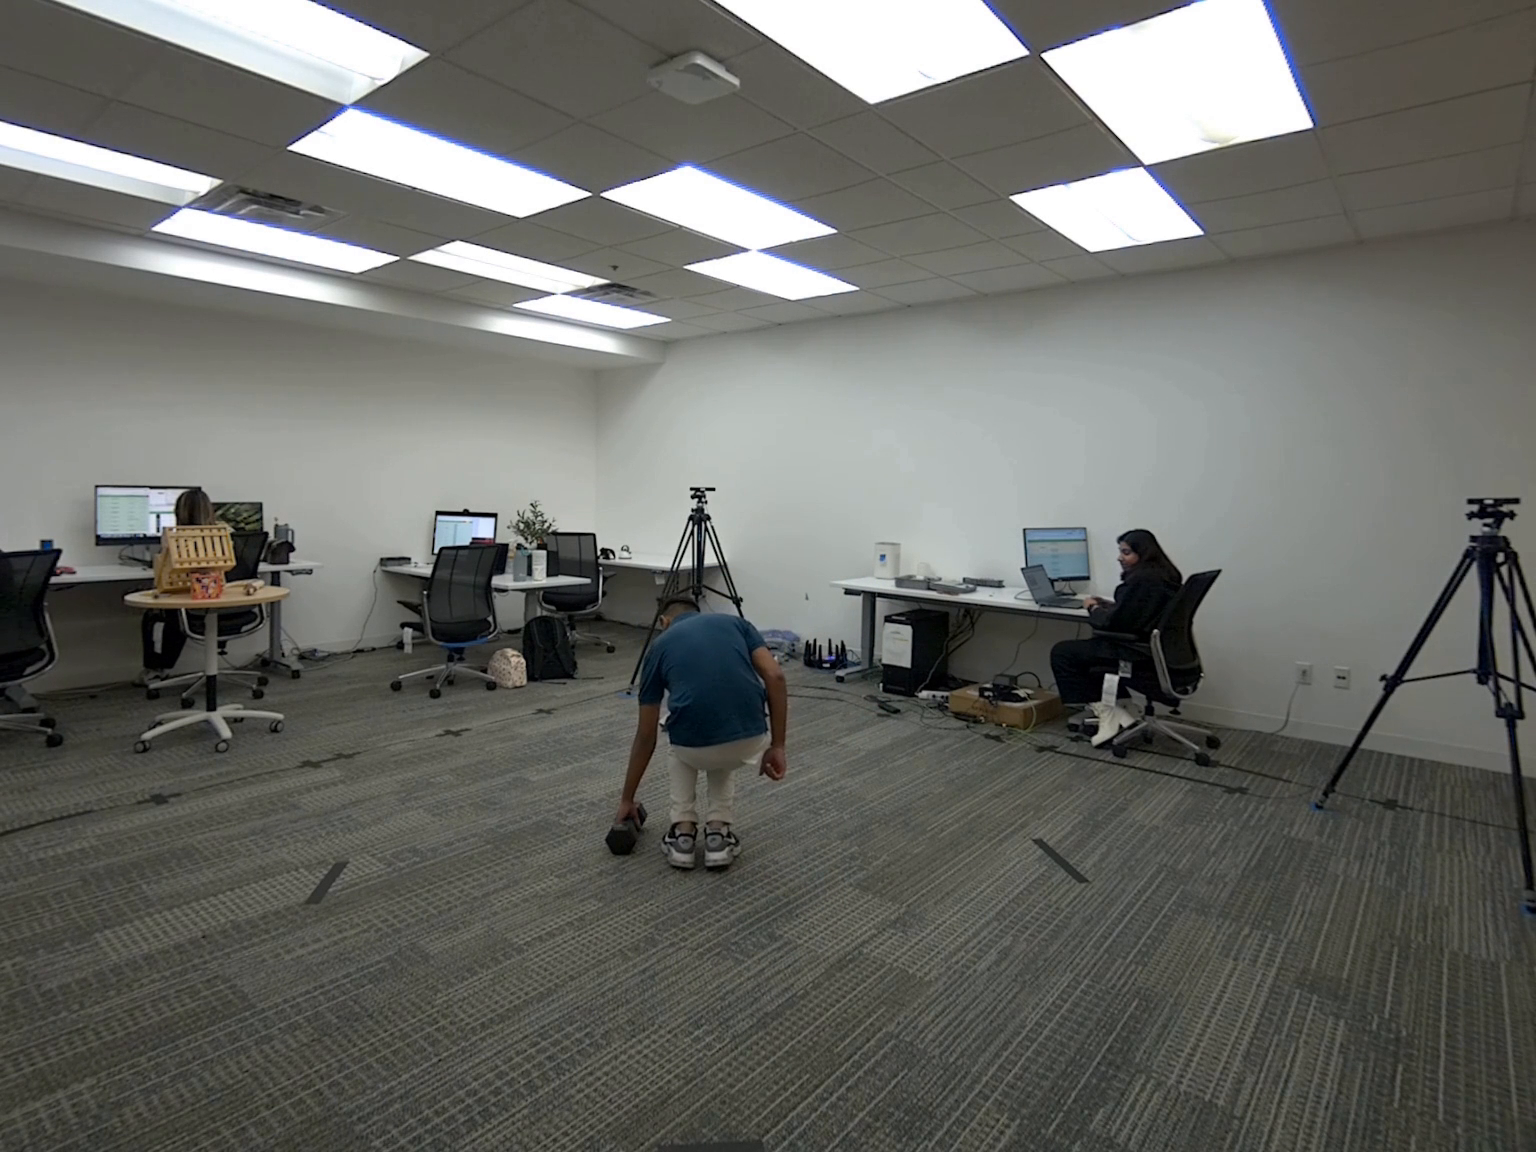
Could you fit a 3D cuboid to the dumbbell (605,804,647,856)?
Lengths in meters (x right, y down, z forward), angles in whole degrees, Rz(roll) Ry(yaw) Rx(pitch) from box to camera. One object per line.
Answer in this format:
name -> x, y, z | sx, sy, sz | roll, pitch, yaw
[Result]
dumbbell -> -0.564, 0.979, 3.349 | 0.109, 0.123, 0.293 | 30, 4, -1
